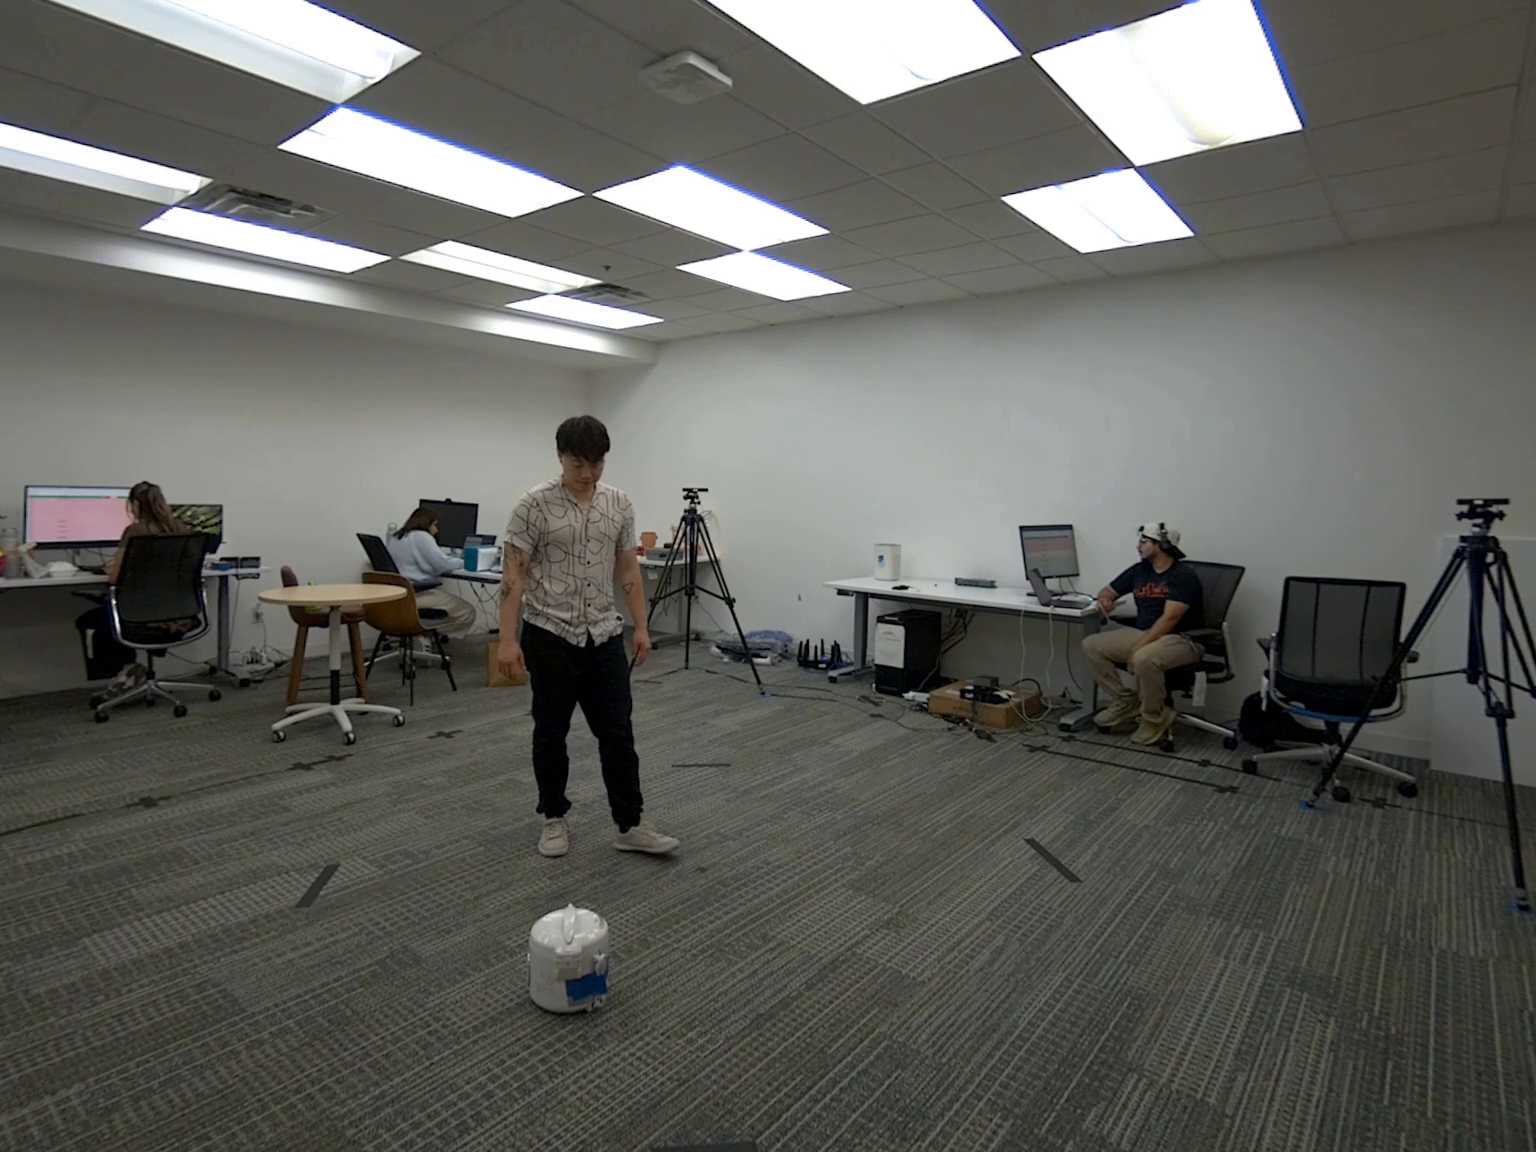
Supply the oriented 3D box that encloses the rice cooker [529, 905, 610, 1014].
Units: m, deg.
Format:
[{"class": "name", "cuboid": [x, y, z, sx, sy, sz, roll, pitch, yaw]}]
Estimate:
[{"class": "rice cooker", "cuboid": [-0.548, 1.028, 2.308, 0.215, 0.232, 0.223, 1, 3, -9]}]
